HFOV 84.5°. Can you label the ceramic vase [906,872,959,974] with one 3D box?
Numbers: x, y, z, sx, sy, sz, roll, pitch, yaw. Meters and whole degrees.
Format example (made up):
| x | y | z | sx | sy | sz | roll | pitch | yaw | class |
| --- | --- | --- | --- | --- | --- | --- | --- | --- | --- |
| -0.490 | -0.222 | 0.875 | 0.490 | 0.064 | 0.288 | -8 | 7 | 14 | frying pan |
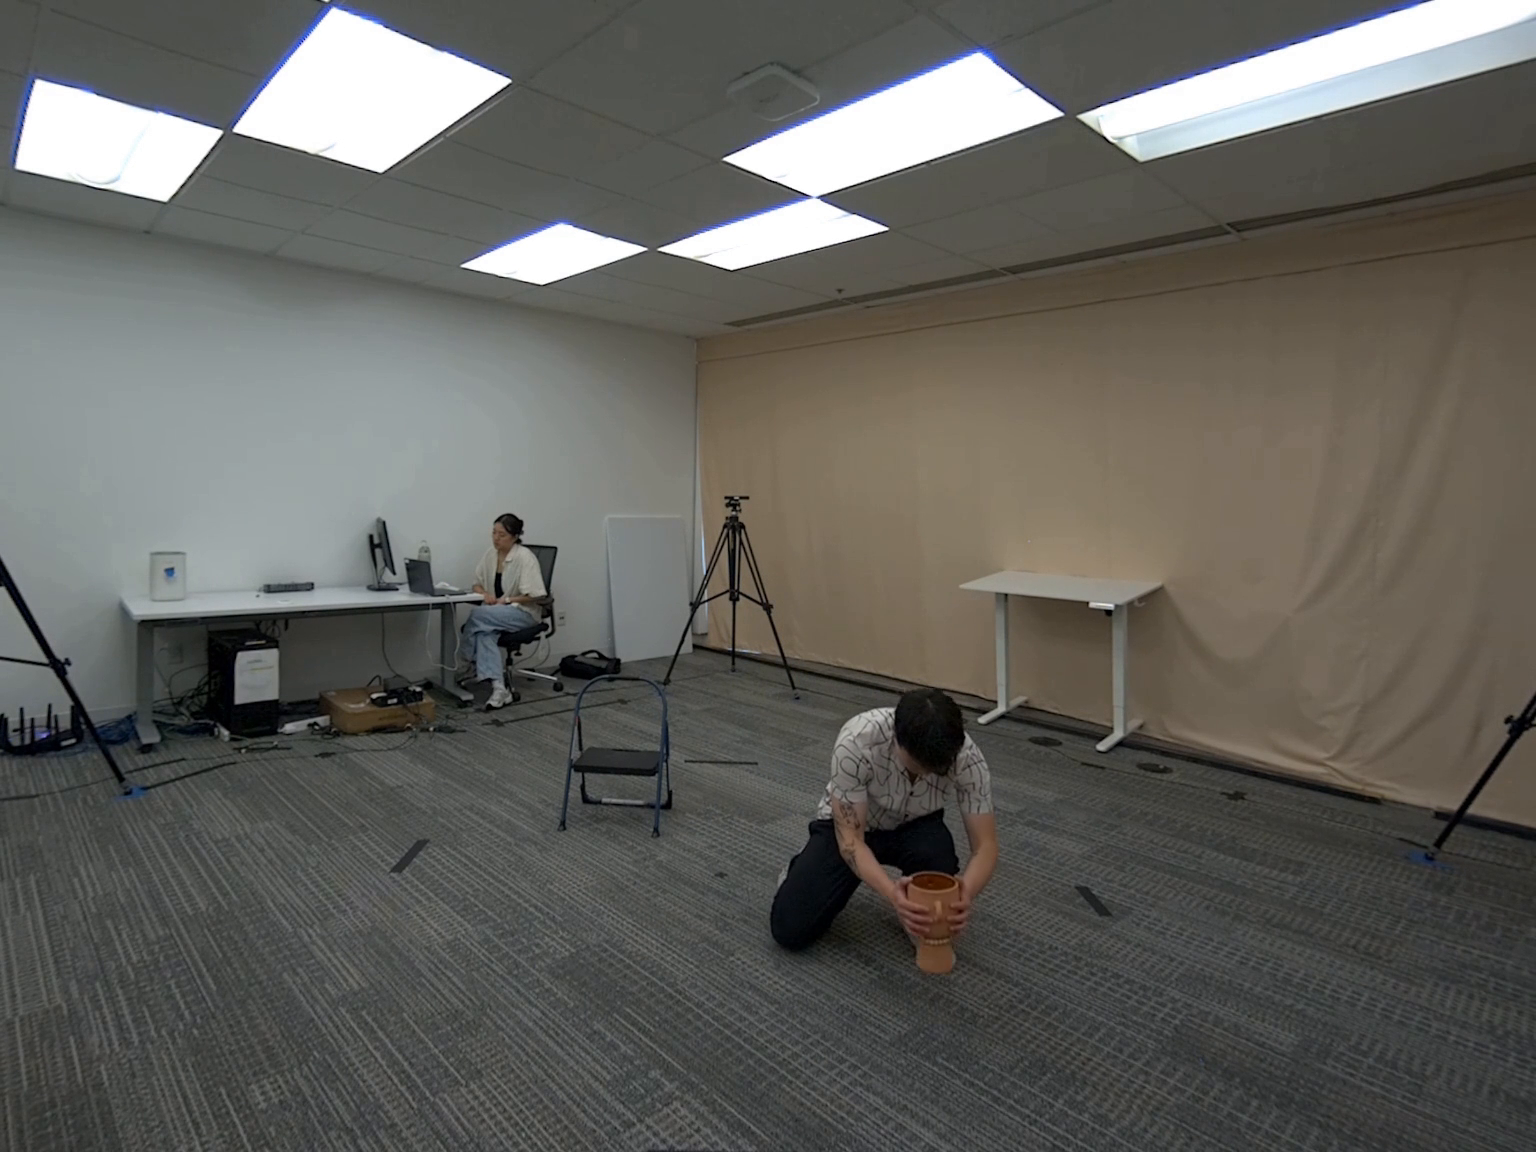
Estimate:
| x | y | z | sx | sy | sz | roll | pitch | yaw | class |
| --- | --- | --- | --- | --- | --- | --- | --- | --- | --- |
| 0.429 | 0.917 | 2.221 | 0.138 | 0.219 | 0.155 | 1 | 3 | 41 | ceramic vase |
